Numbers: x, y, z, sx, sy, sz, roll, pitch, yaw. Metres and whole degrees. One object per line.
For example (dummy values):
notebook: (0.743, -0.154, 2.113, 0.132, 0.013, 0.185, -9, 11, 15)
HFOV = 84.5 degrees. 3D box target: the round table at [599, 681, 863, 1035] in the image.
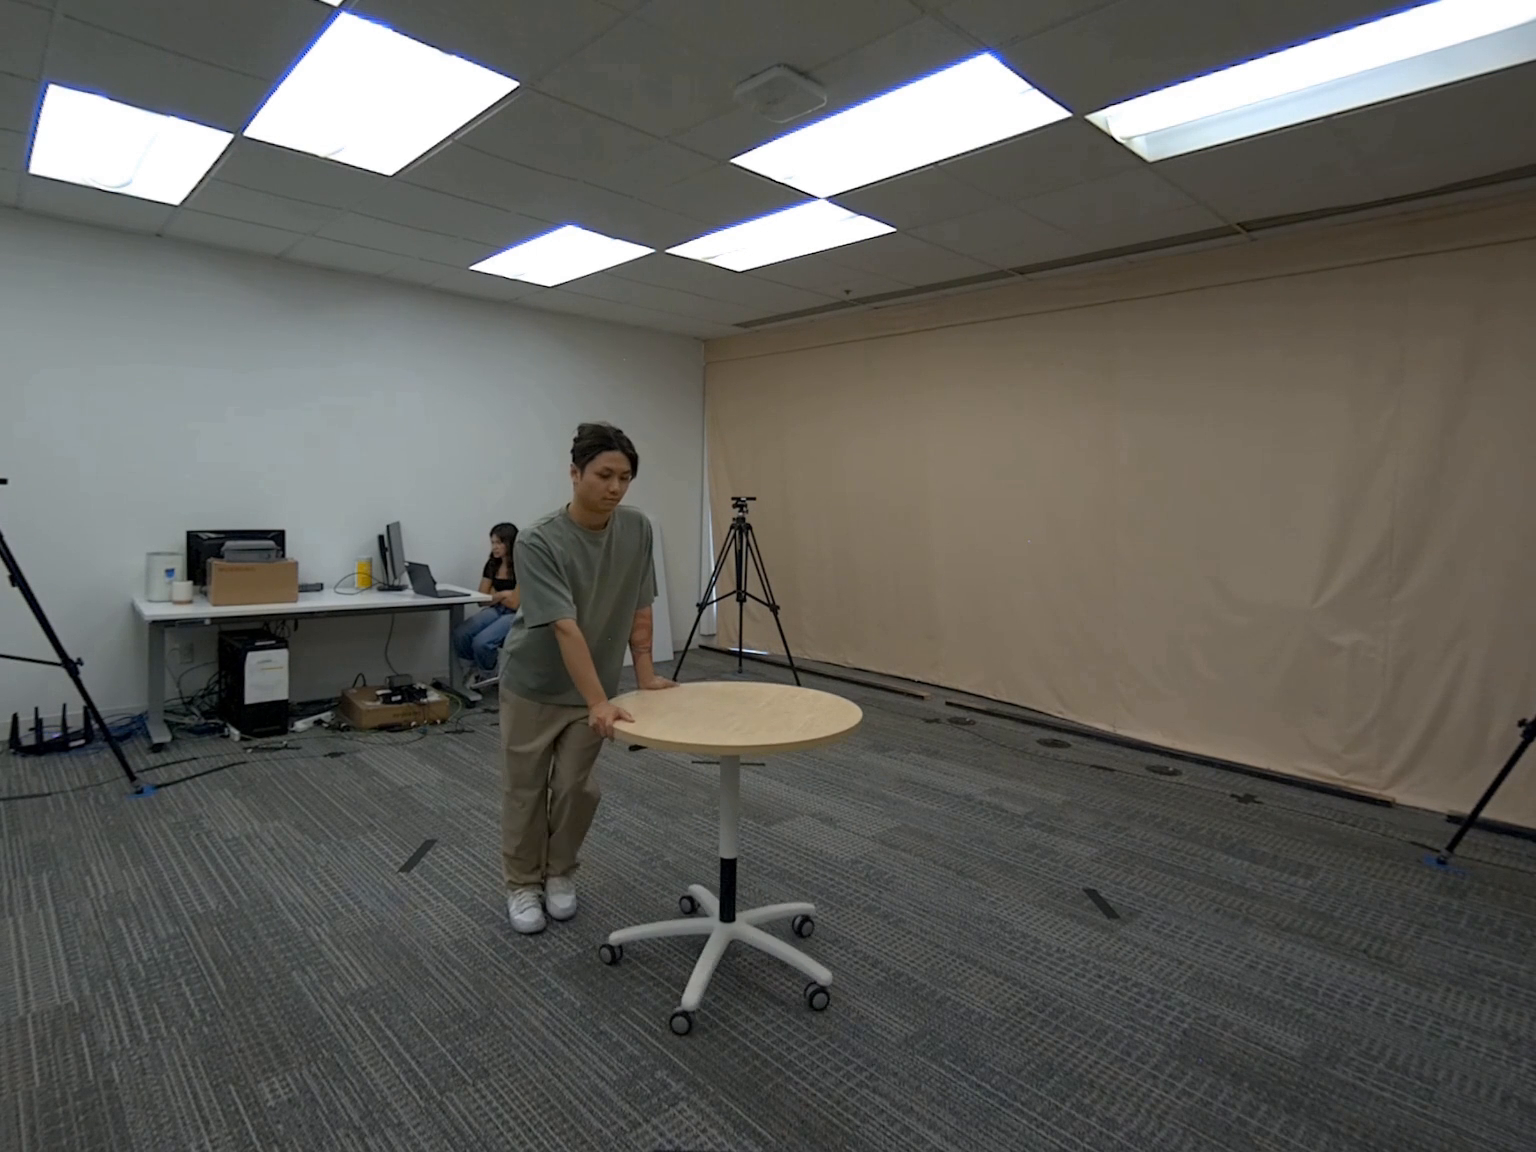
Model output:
round table: (-0.115, 0.777, 2.477, 0.784, 0.784, 0.788, 0, 4, -1)
